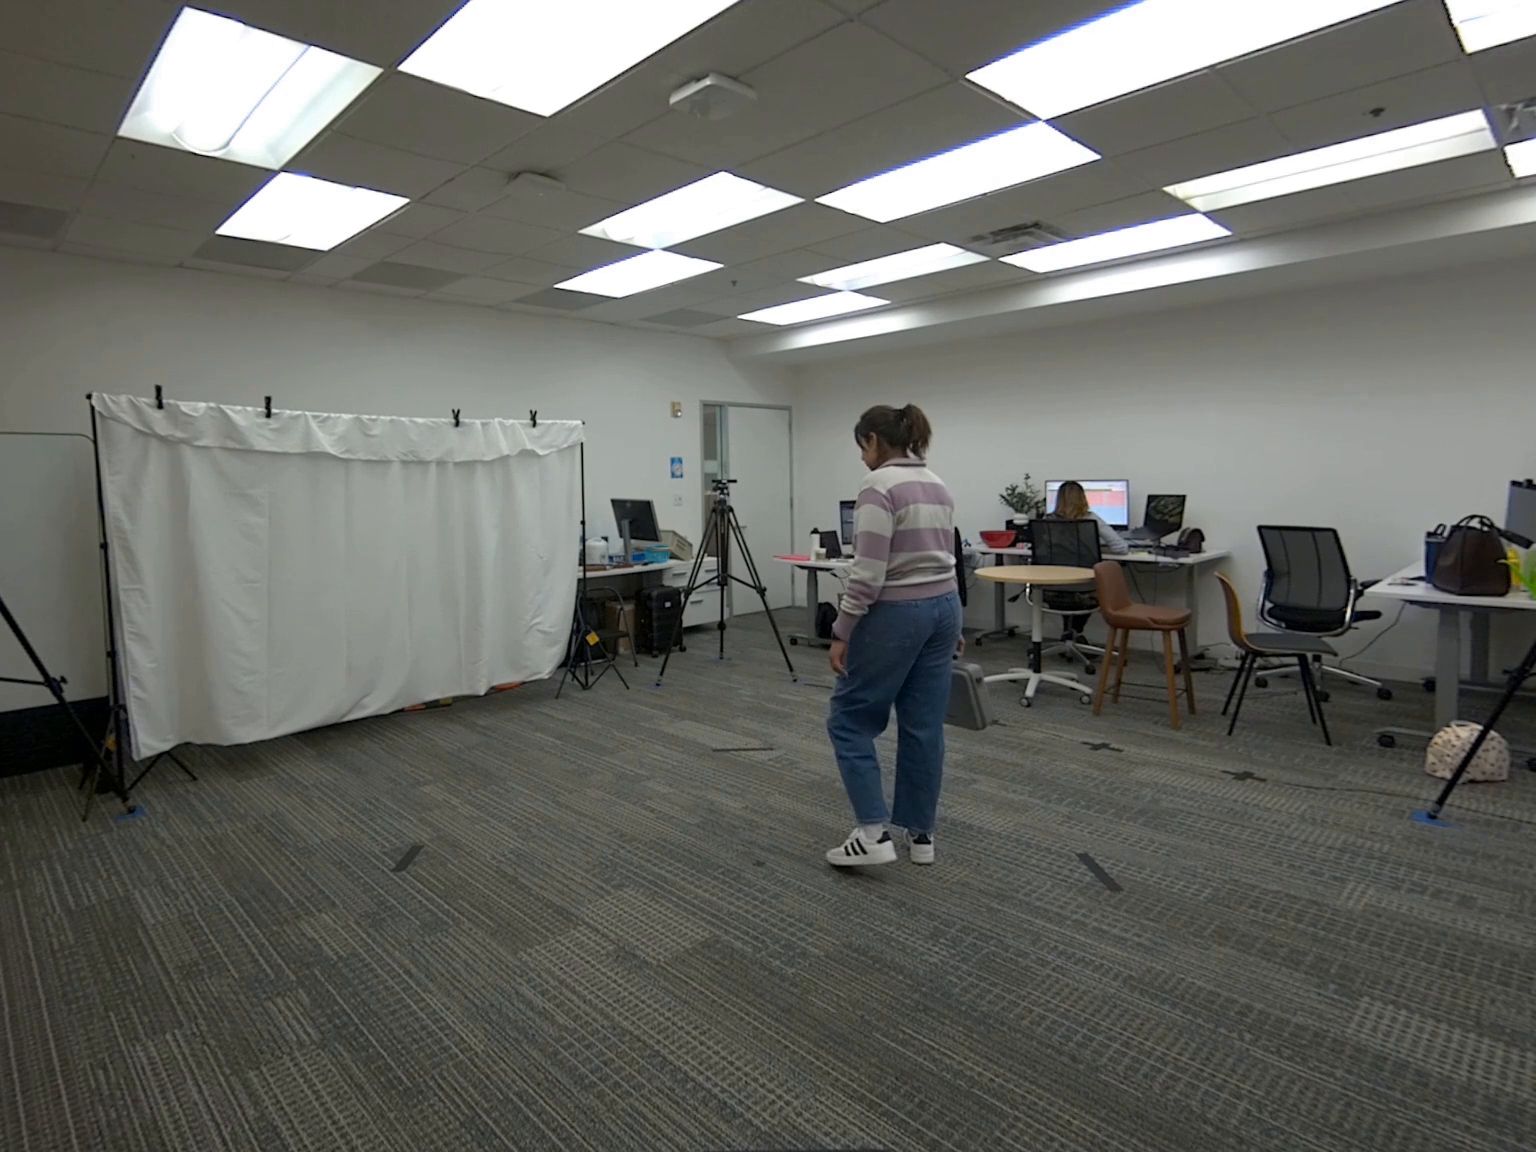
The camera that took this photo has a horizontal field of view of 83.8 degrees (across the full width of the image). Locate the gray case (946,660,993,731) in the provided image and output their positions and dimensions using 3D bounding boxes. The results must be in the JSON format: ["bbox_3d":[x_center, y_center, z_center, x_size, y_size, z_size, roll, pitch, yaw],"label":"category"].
[{"bbox_3d":[0.745,0.464,3.391,0.103,0.258,0.263,-19,10,-28],"label":"gray case"}]
